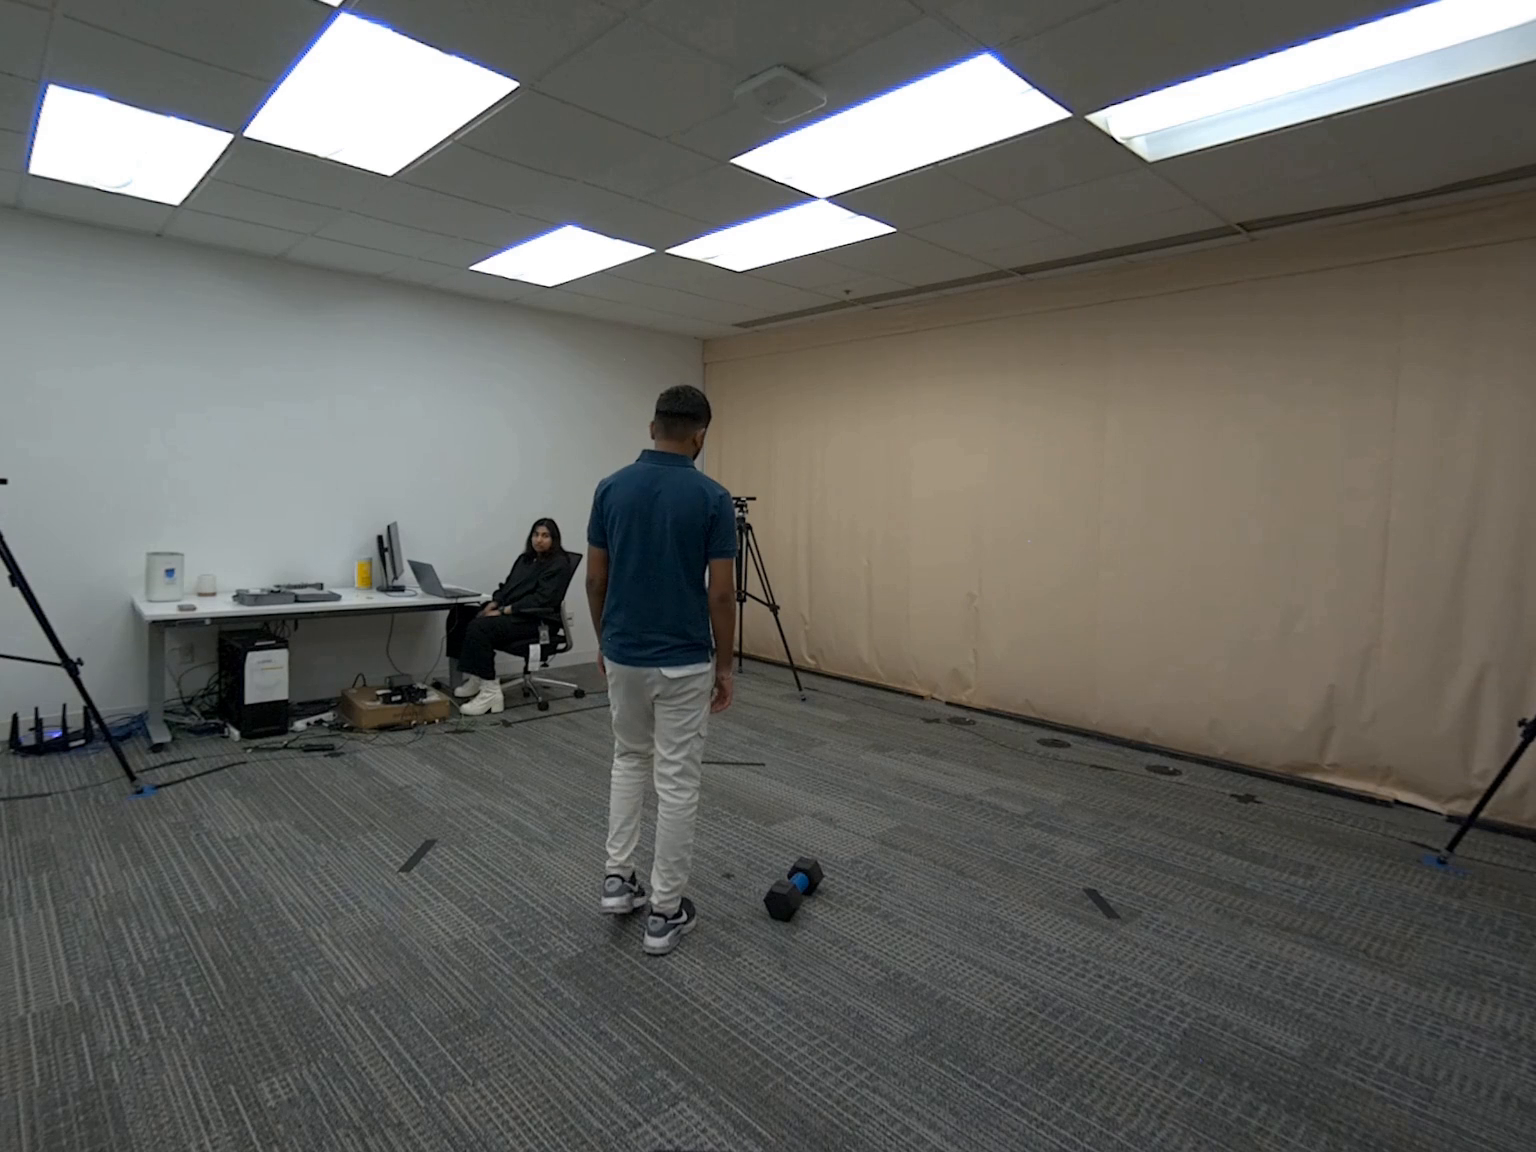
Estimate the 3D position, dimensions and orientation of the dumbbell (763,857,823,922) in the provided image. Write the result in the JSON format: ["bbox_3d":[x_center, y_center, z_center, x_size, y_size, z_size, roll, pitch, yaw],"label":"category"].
[{"bbox_3d":[0.085,1.077,2.898,0.111,0.122,0.289,34,16,17],"label":"dumbbell"}]
